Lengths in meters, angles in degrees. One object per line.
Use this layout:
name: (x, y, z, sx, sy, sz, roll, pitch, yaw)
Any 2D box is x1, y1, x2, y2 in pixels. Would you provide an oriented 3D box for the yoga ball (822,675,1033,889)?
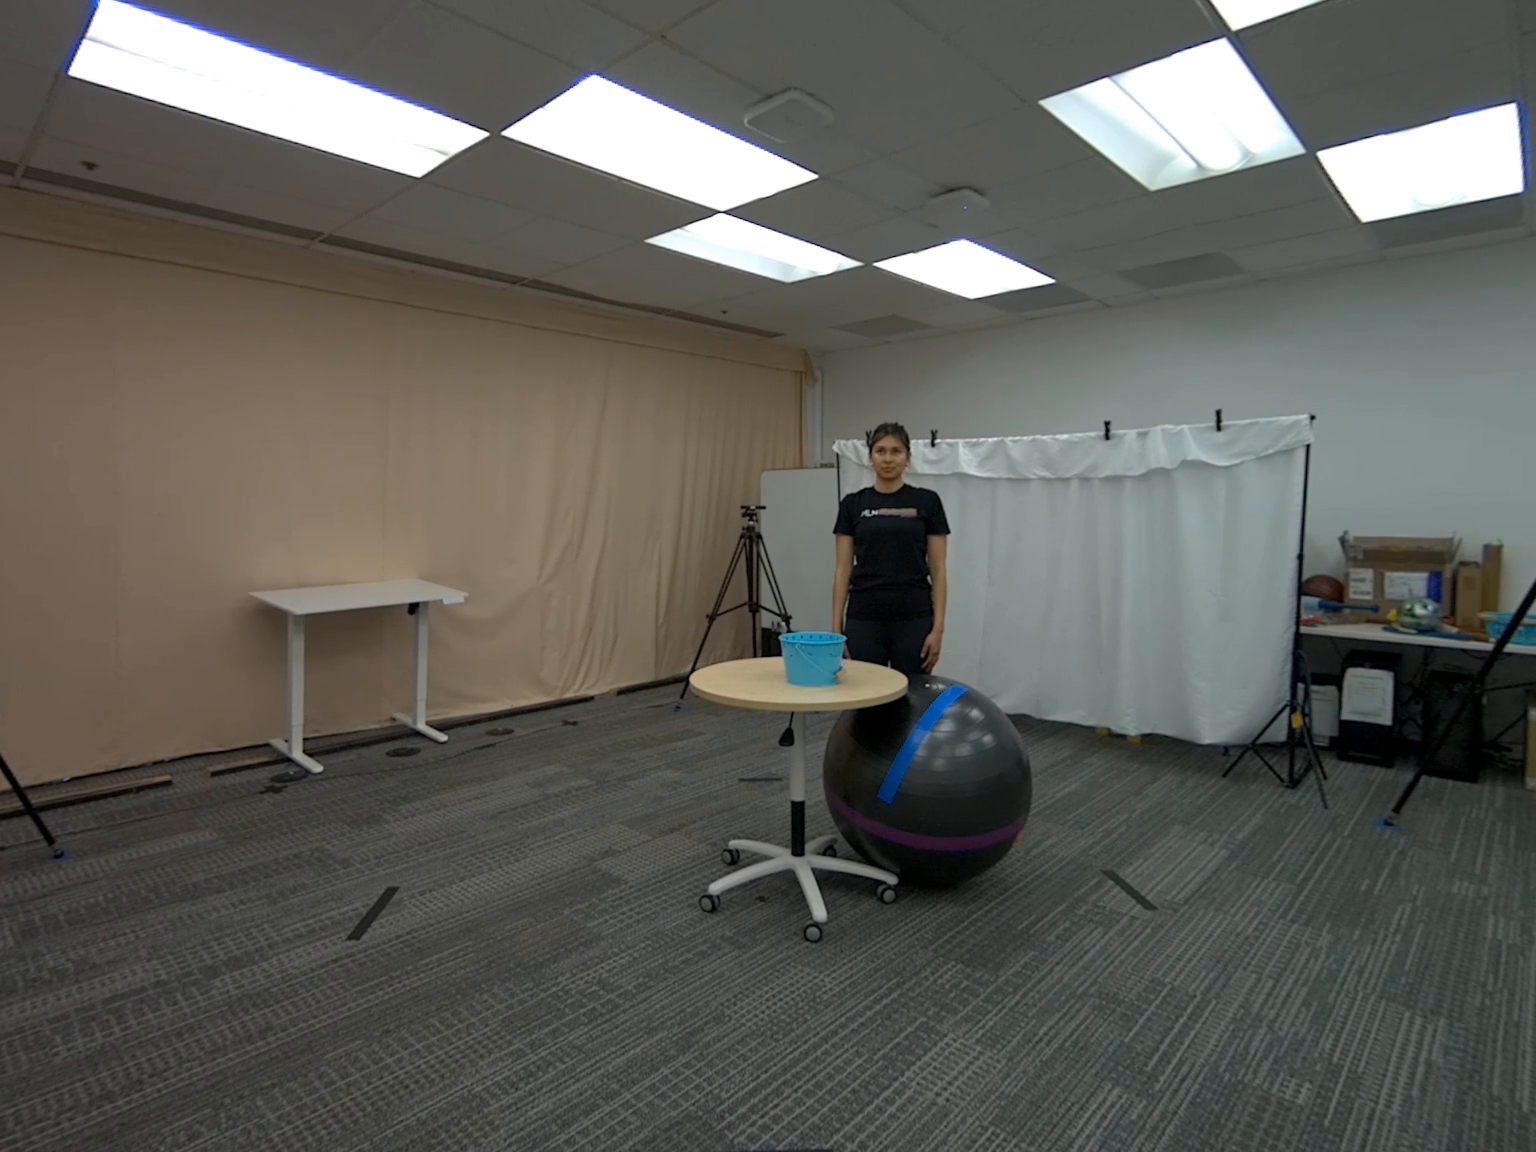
yoga ball: (0.602, 0.765, 3.152, 0.757, 0.756, 0.761, 0, 4, -2)
